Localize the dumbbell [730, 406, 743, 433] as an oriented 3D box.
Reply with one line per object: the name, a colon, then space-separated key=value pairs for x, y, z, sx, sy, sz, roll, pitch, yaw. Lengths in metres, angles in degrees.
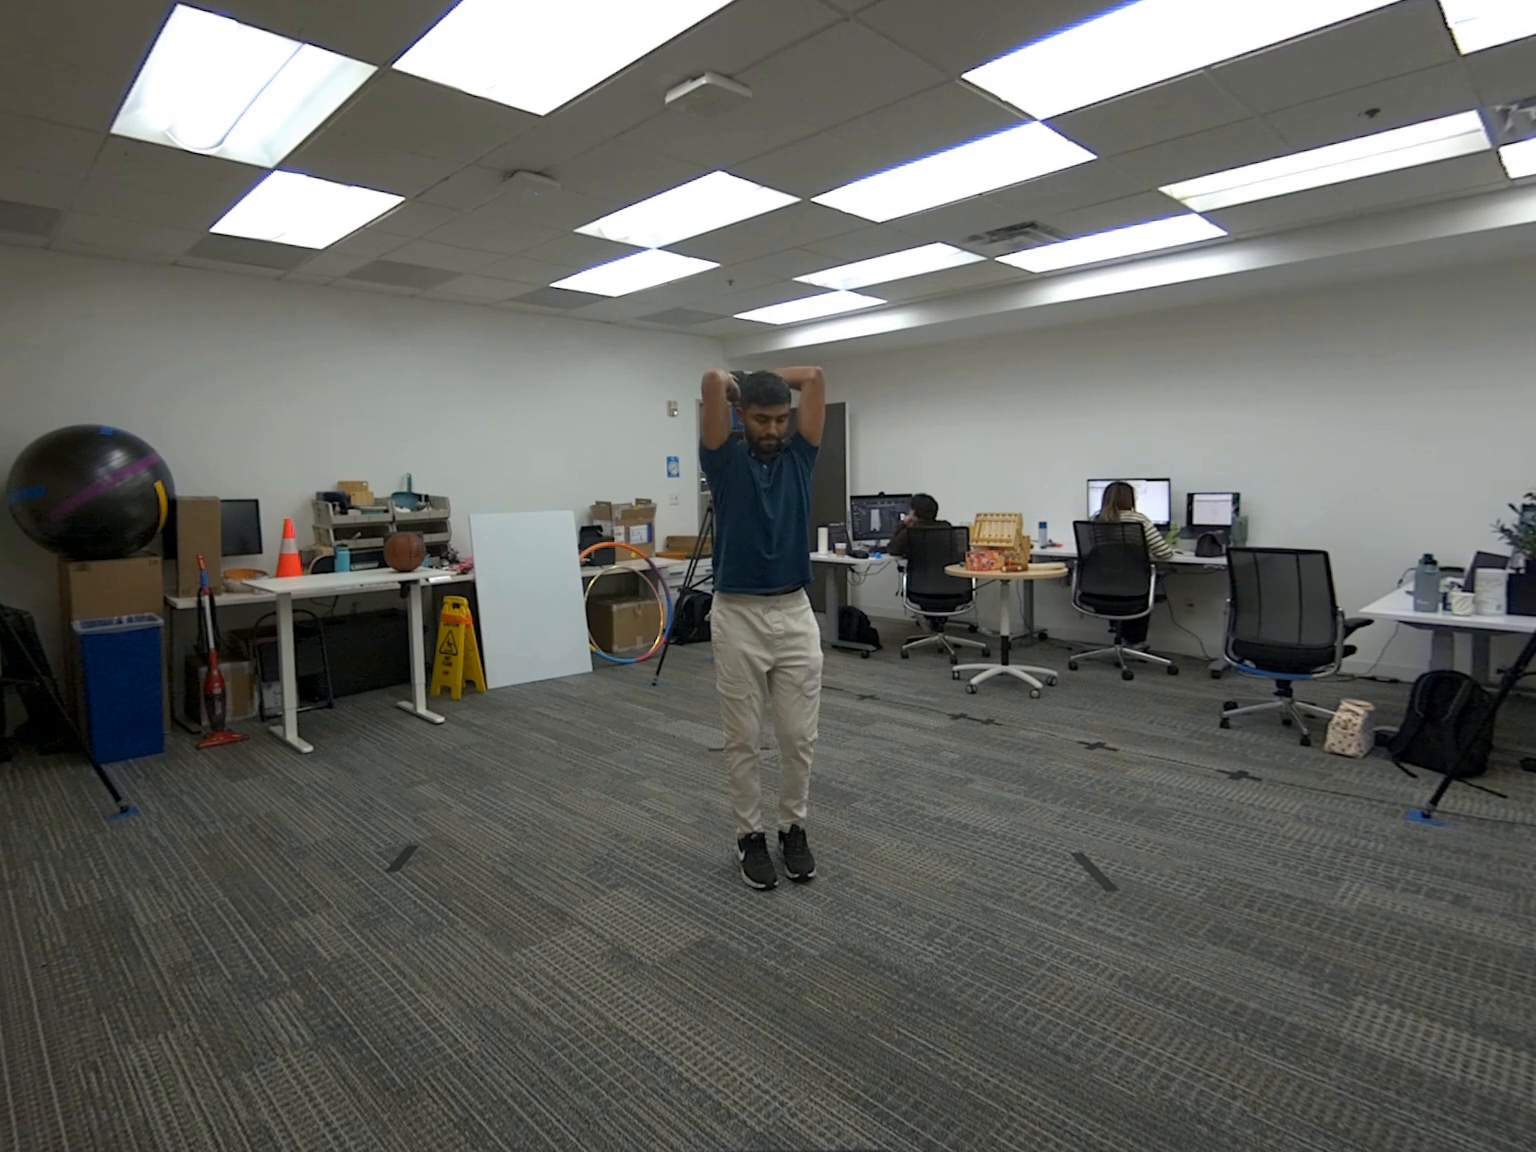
dumbbell: x=-0.088 y=-0.613 z=3.150 sx=0.111 sy=0.293 sz=0.120 roll=3 pitch=2 yaw=23
